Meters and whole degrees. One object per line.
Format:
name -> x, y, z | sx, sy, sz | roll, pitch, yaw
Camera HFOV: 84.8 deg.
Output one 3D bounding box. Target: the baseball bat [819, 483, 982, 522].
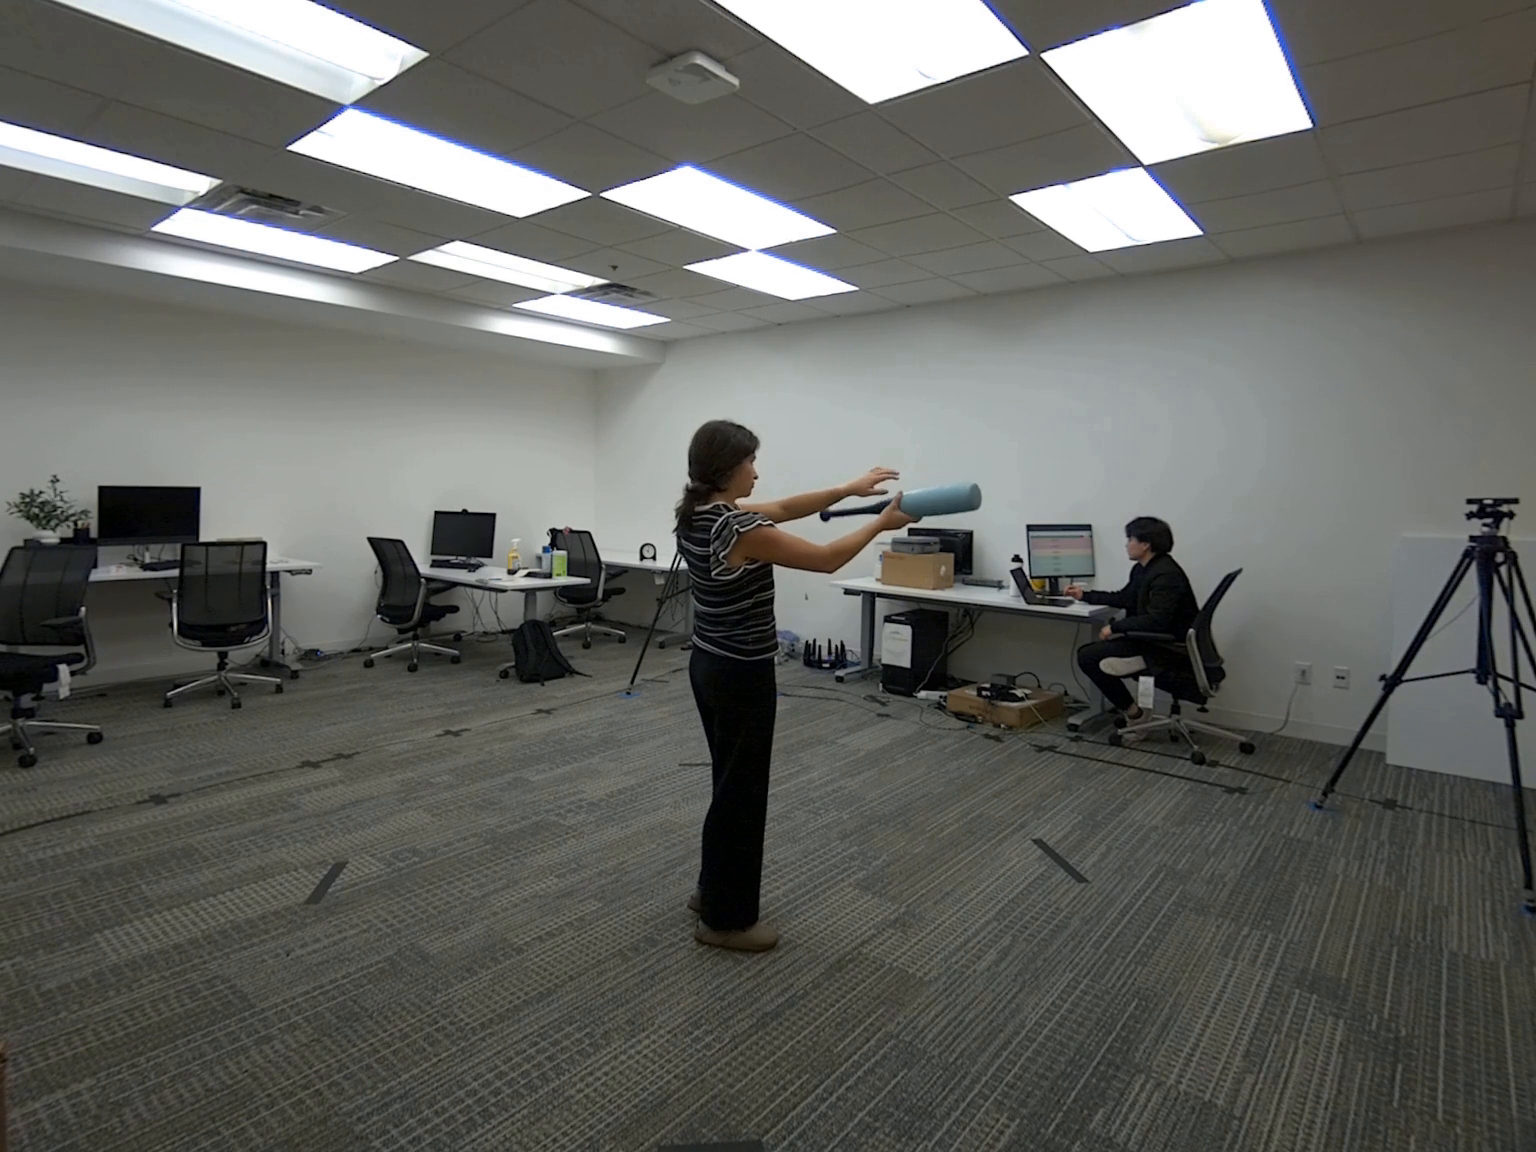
baseball bat -> 0.384, -0.213, 2.637 | 0.558, 0.089, 0.086 | -4, 0, 41
